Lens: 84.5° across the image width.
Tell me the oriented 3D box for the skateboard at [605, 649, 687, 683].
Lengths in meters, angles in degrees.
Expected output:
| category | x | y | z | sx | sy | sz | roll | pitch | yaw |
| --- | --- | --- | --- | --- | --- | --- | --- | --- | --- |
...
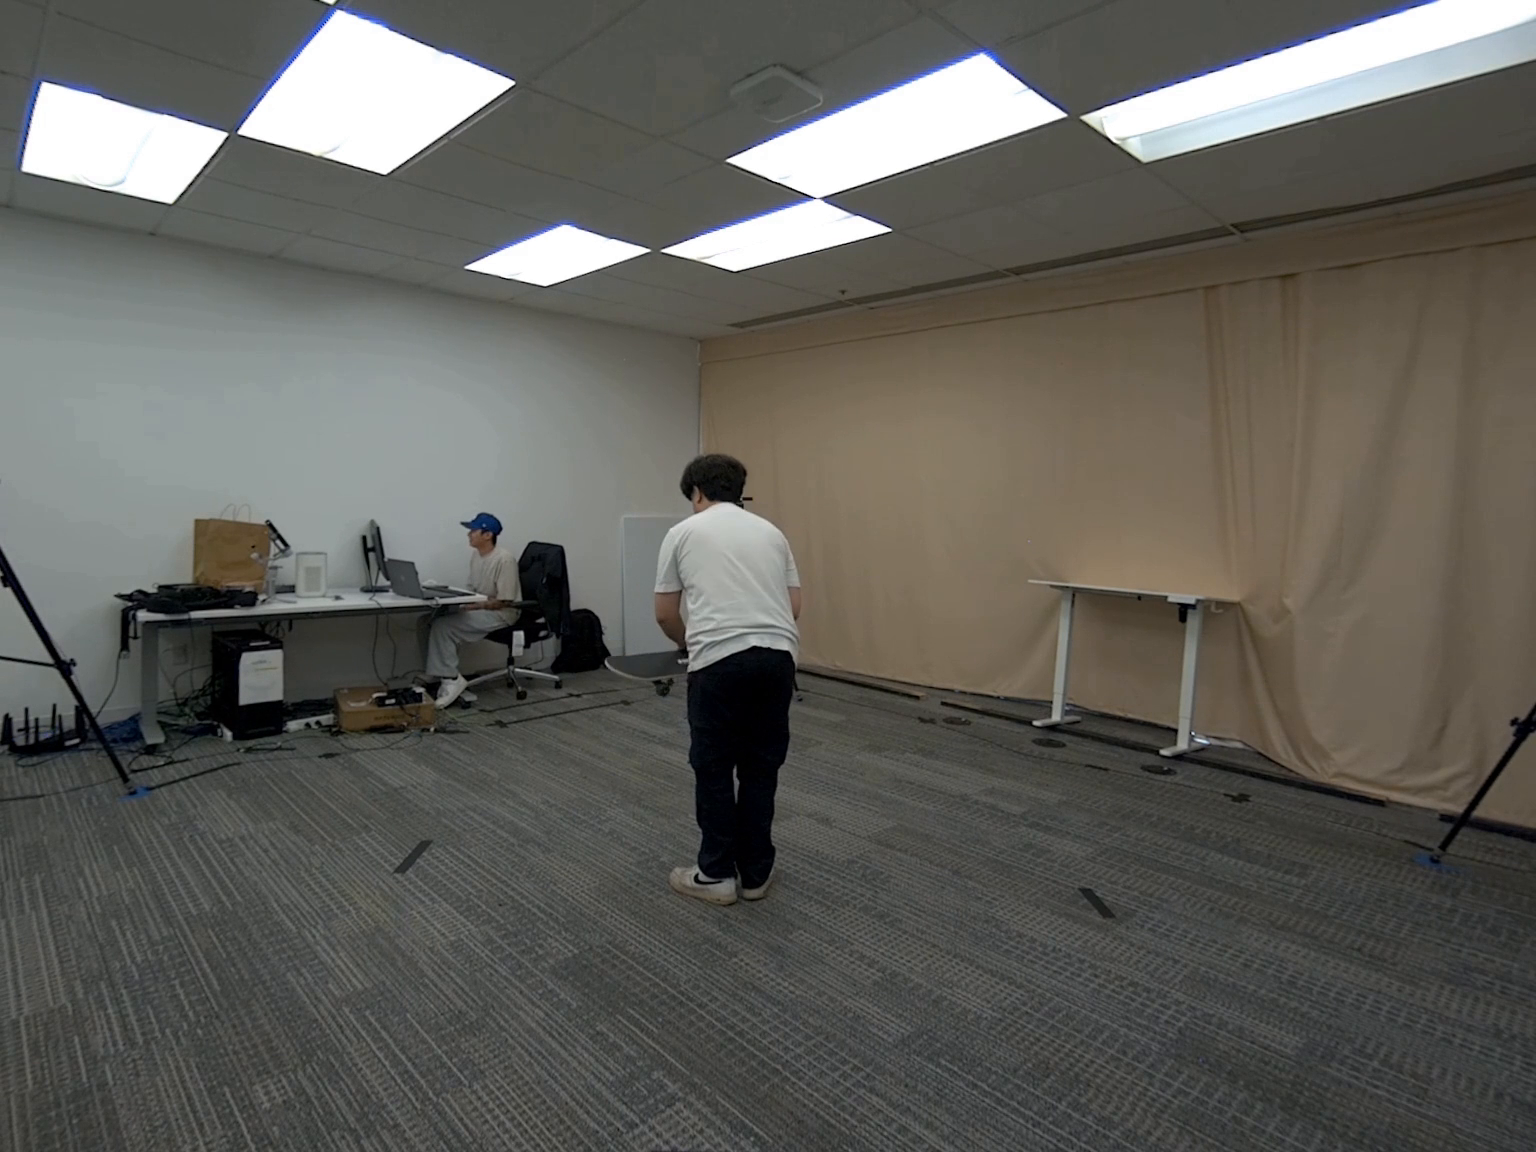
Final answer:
| category | x | y | z | sx | sy | sz | roll | pitch | yaw |
| --- | --- | --- | --- | --- | --- | --- | --- | --- | --- |
| skateboard | -0.266 | 0.355 | 3.216 | 0.768 | 0.109 | 0.199 | -3 | 21 | -35 |
